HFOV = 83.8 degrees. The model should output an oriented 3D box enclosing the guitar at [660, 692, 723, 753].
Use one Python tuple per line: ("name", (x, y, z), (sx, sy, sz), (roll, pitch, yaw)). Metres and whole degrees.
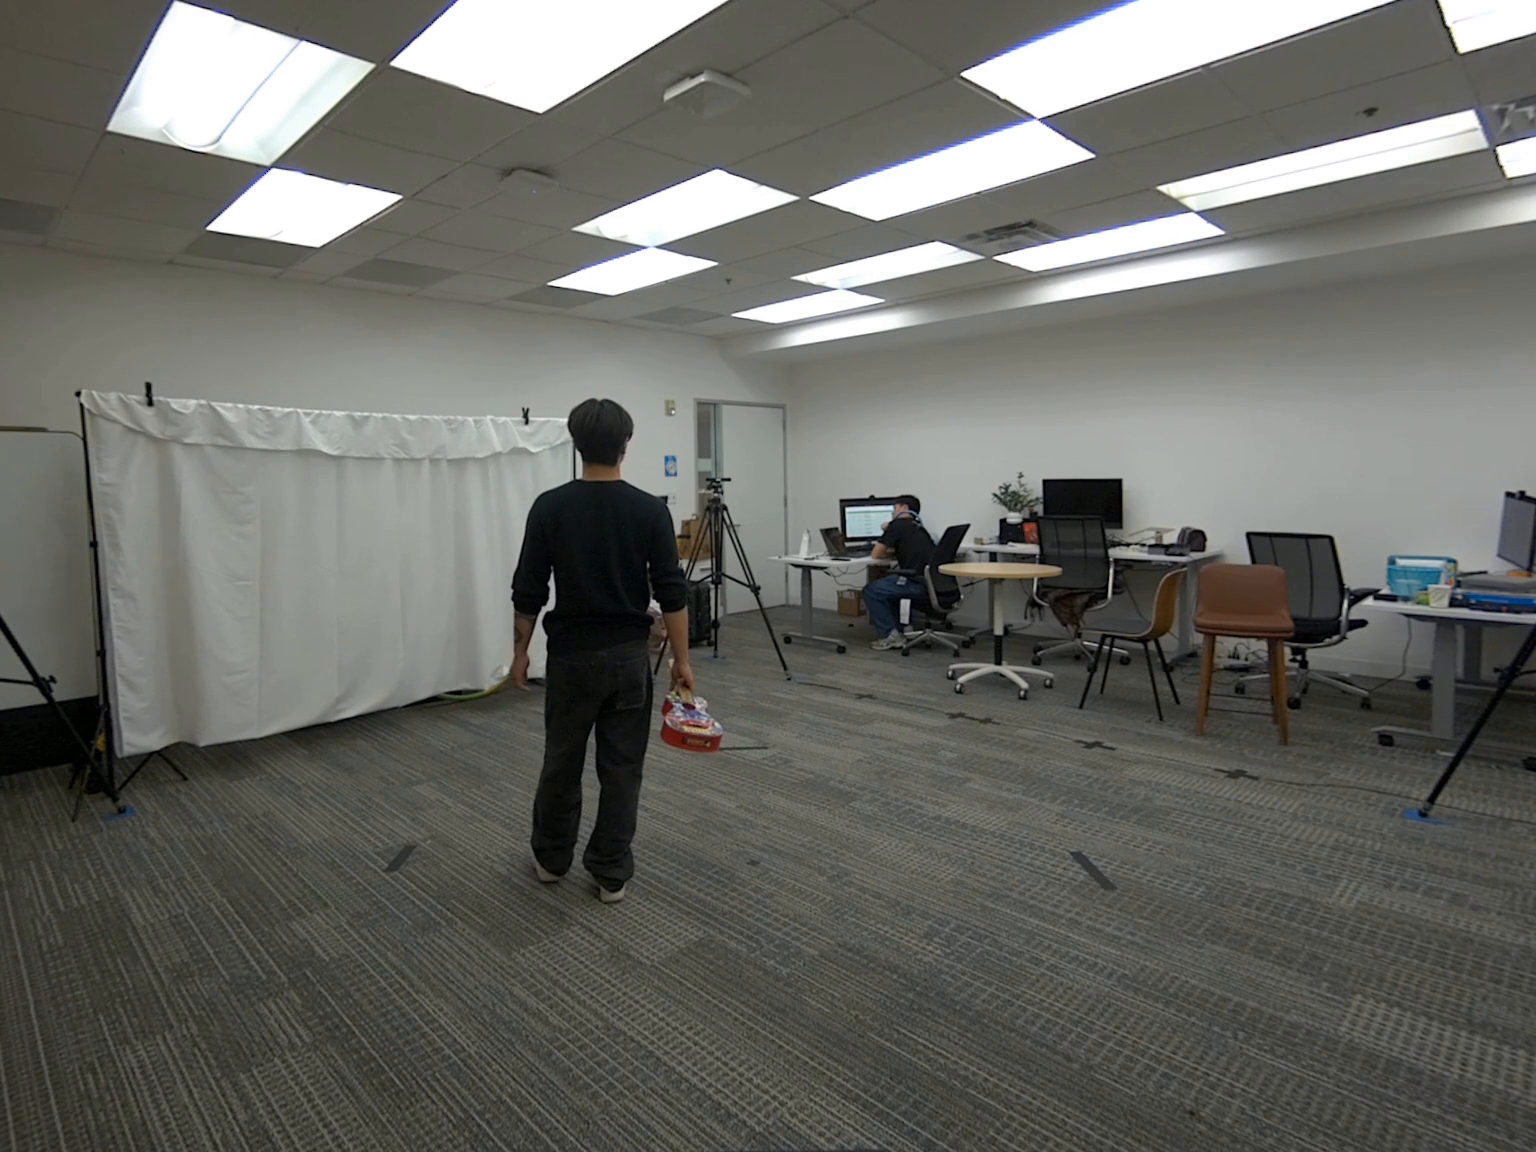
("guitar", (-0.251, 0.429, 2.882), (0.191, 0.070, 0.507), (12, 17, -9))
